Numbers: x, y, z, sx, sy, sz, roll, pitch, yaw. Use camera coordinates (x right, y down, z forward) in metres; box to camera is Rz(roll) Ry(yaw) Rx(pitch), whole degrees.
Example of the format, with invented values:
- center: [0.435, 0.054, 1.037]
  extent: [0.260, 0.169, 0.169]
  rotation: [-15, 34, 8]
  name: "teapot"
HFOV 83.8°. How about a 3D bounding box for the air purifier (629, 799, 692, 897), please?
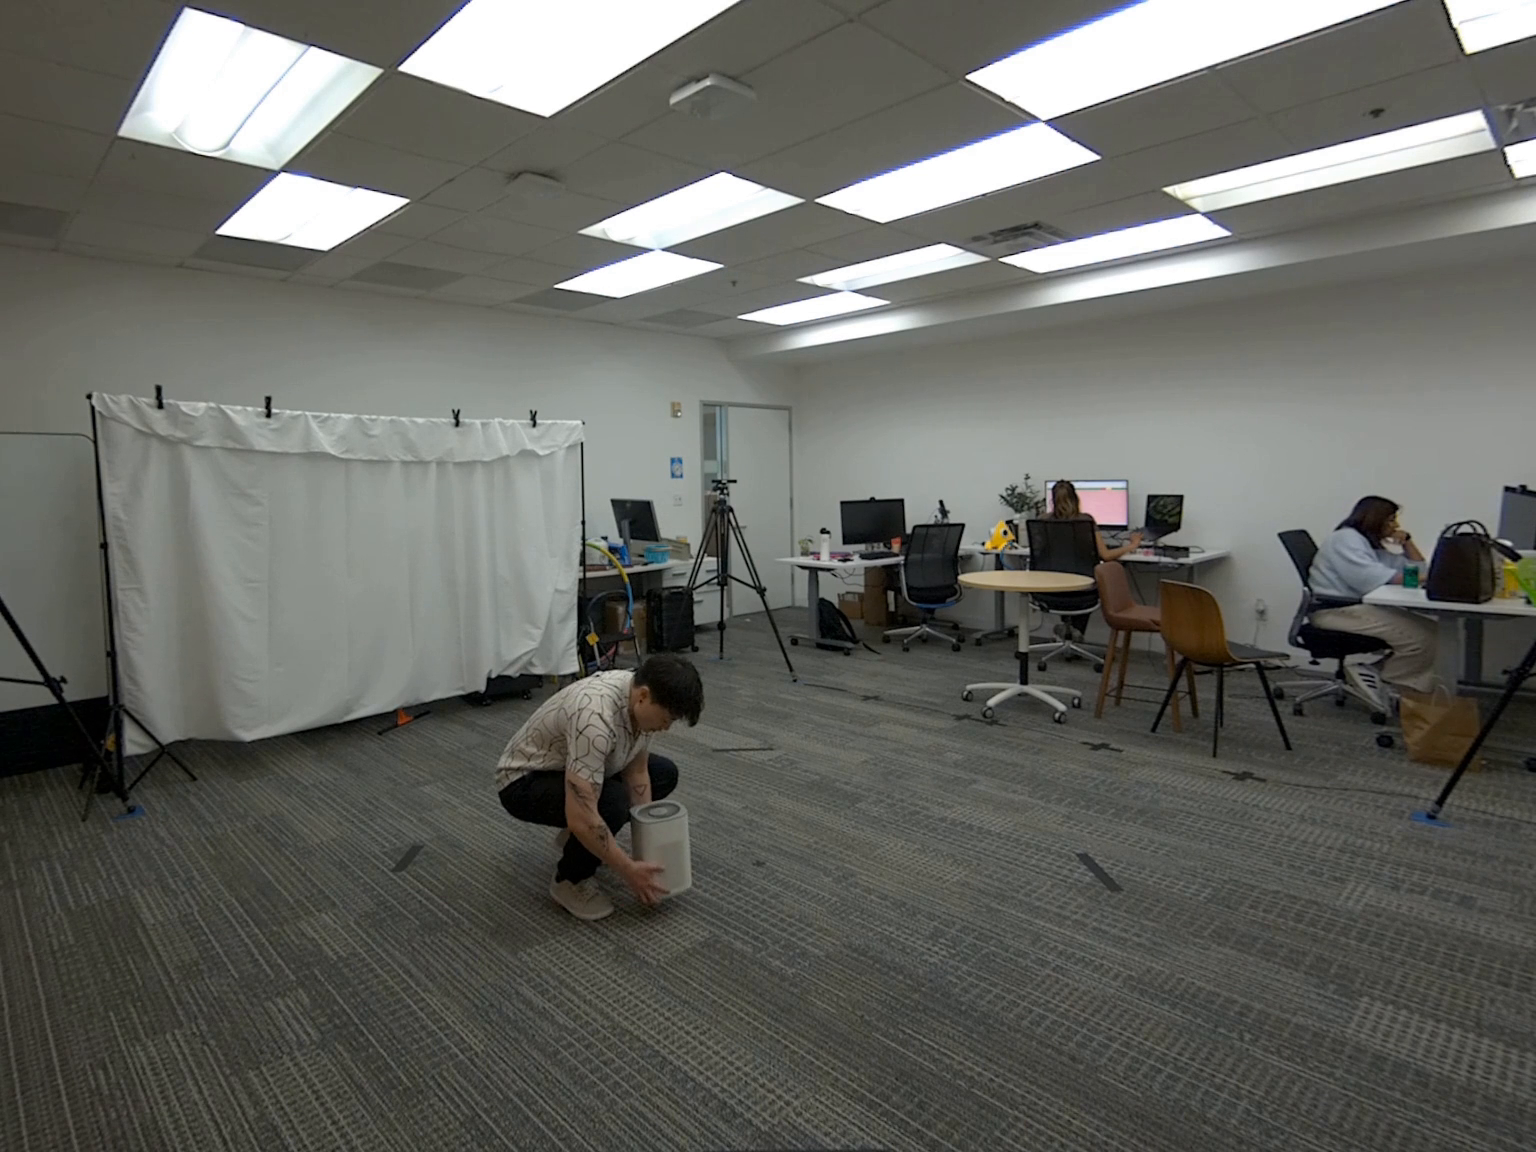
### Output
- center: [-0.360, 0.893, 2.796]
  extent: [0.168, 0.264, 0.175]
  rotation: [-4, 5, -23]
  name: "air purifier"
